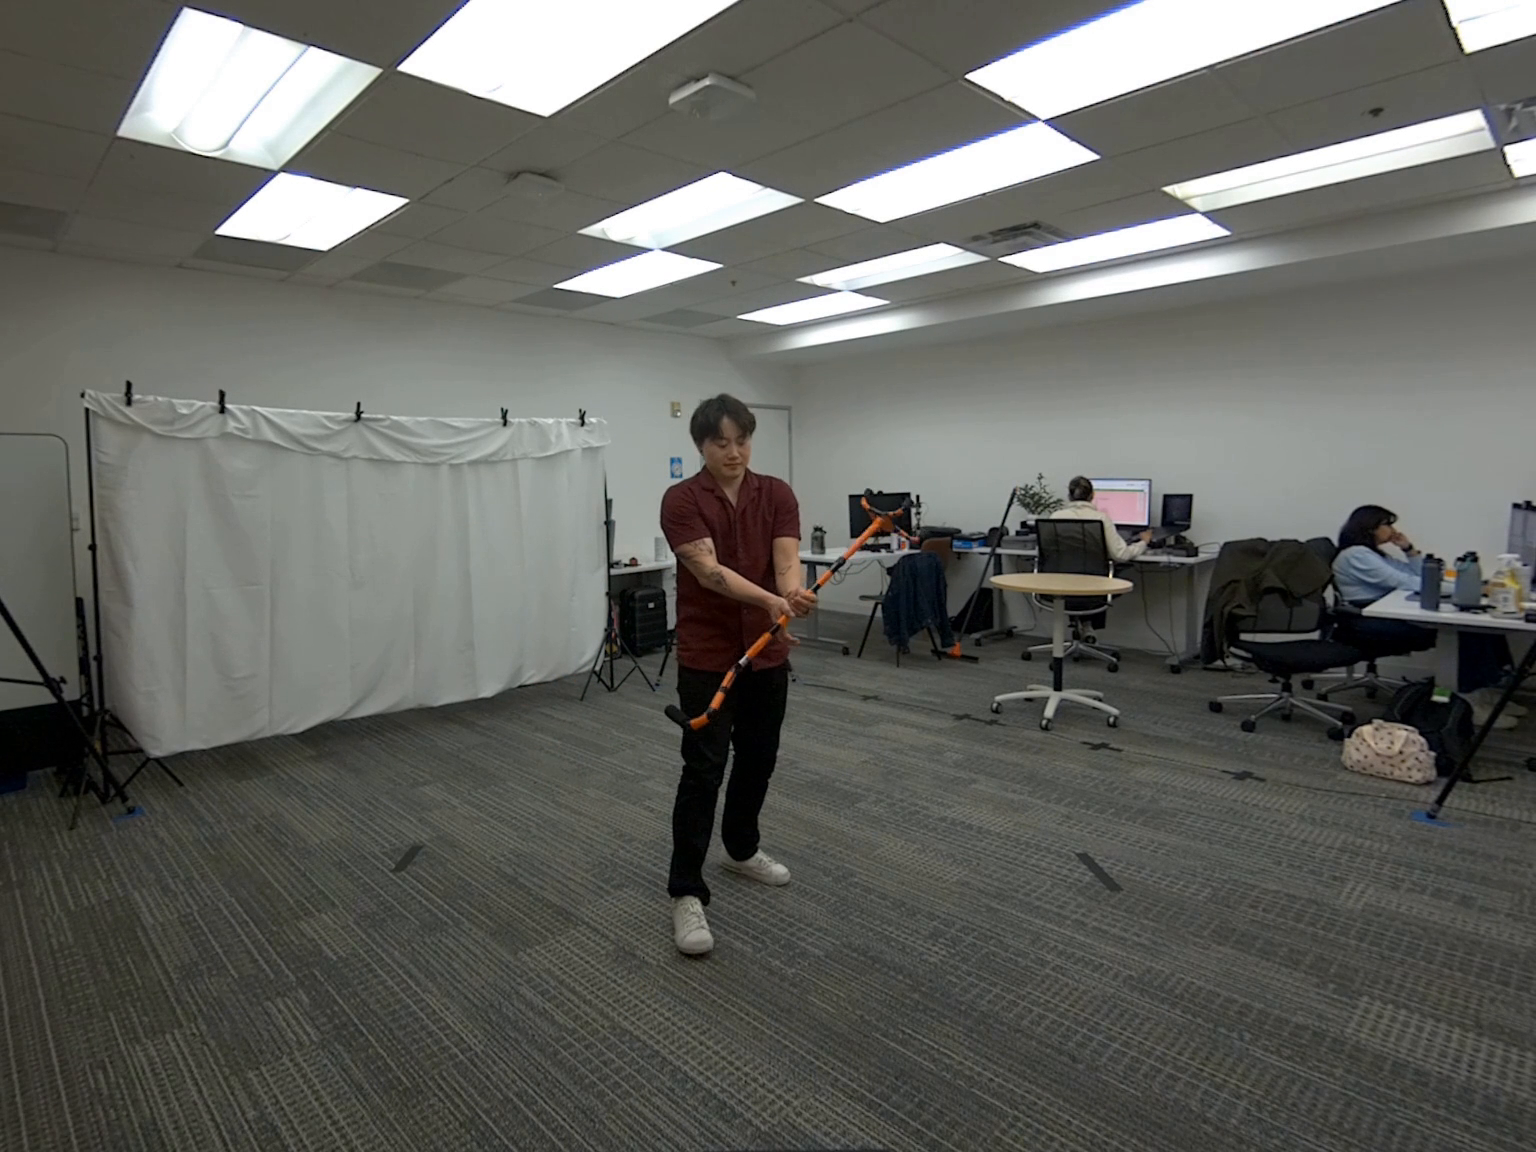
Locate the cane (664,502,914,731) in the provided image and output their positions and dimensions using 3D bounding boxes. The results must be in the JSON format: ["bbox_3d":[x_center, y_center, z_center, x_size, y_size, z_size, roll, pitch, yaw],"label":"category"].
[{"bbox_3d":[0.076,0.109,2.442,0.907,0.147,0.213,-45,32,-17],"label":"cane"}]
